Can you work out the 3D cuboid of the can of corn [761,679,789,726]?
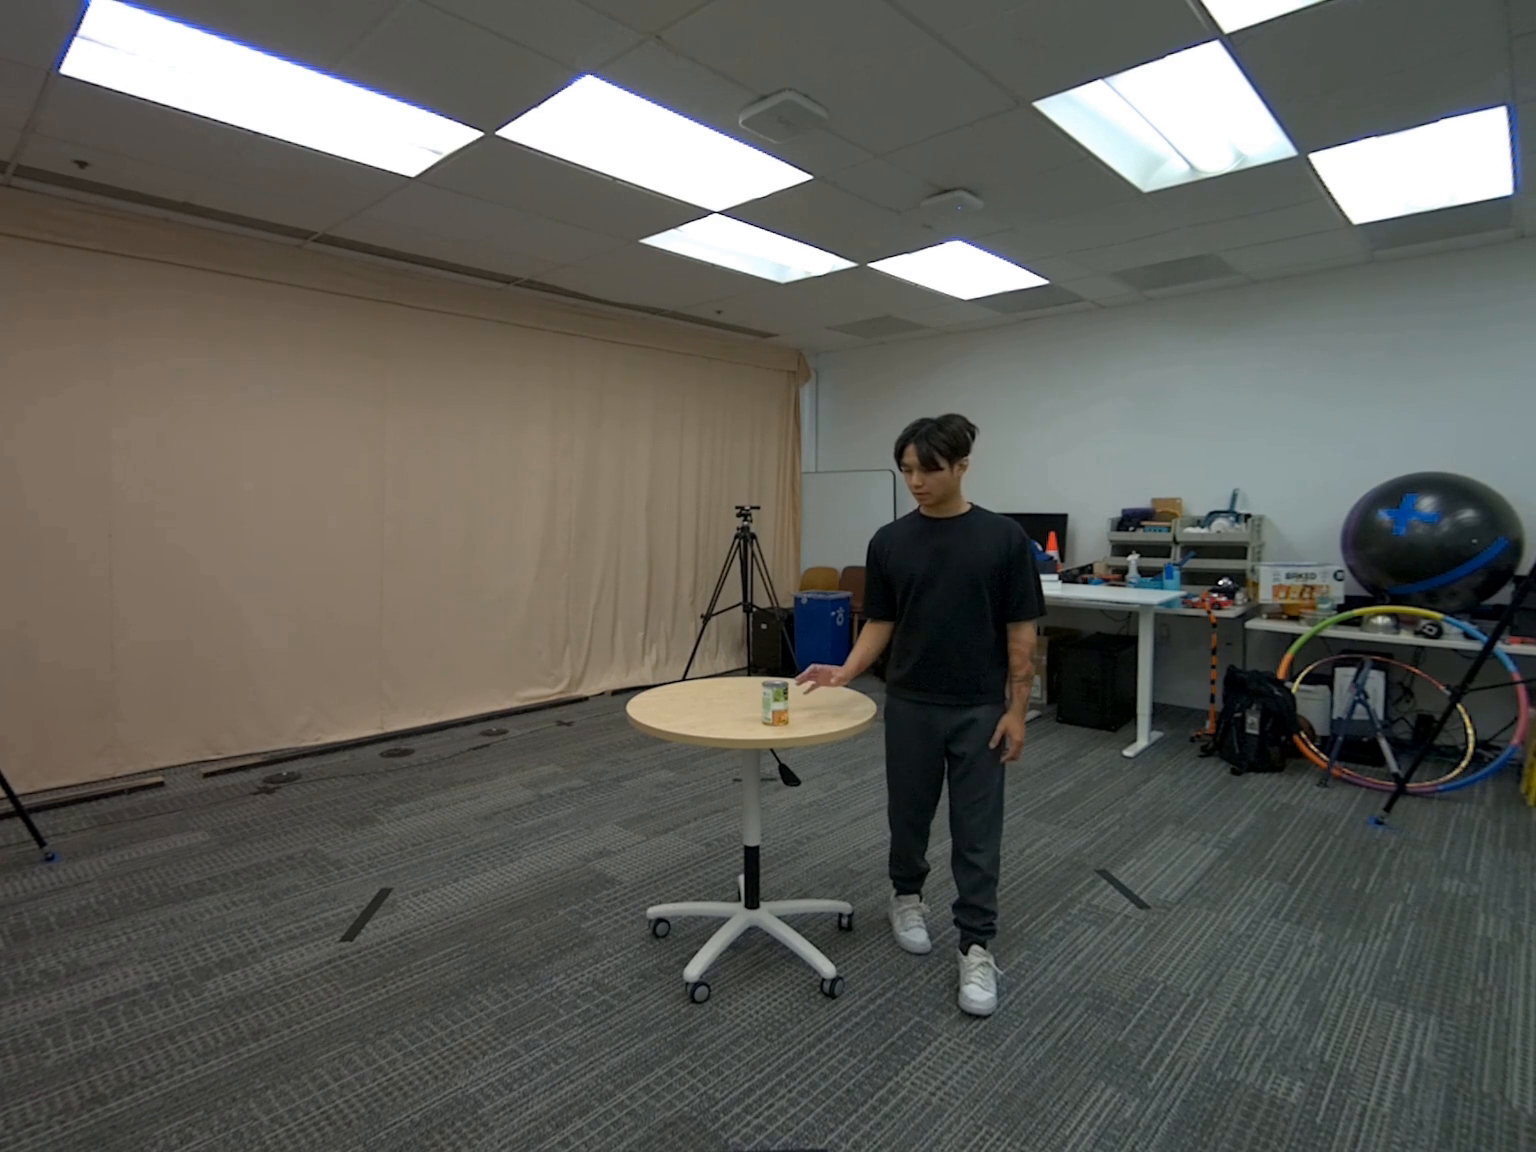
[{"bbox_3d":[0.030,0.362,2.366,0.074,0.111,0.074,0,5,-2],"label":"can of corn"}]
